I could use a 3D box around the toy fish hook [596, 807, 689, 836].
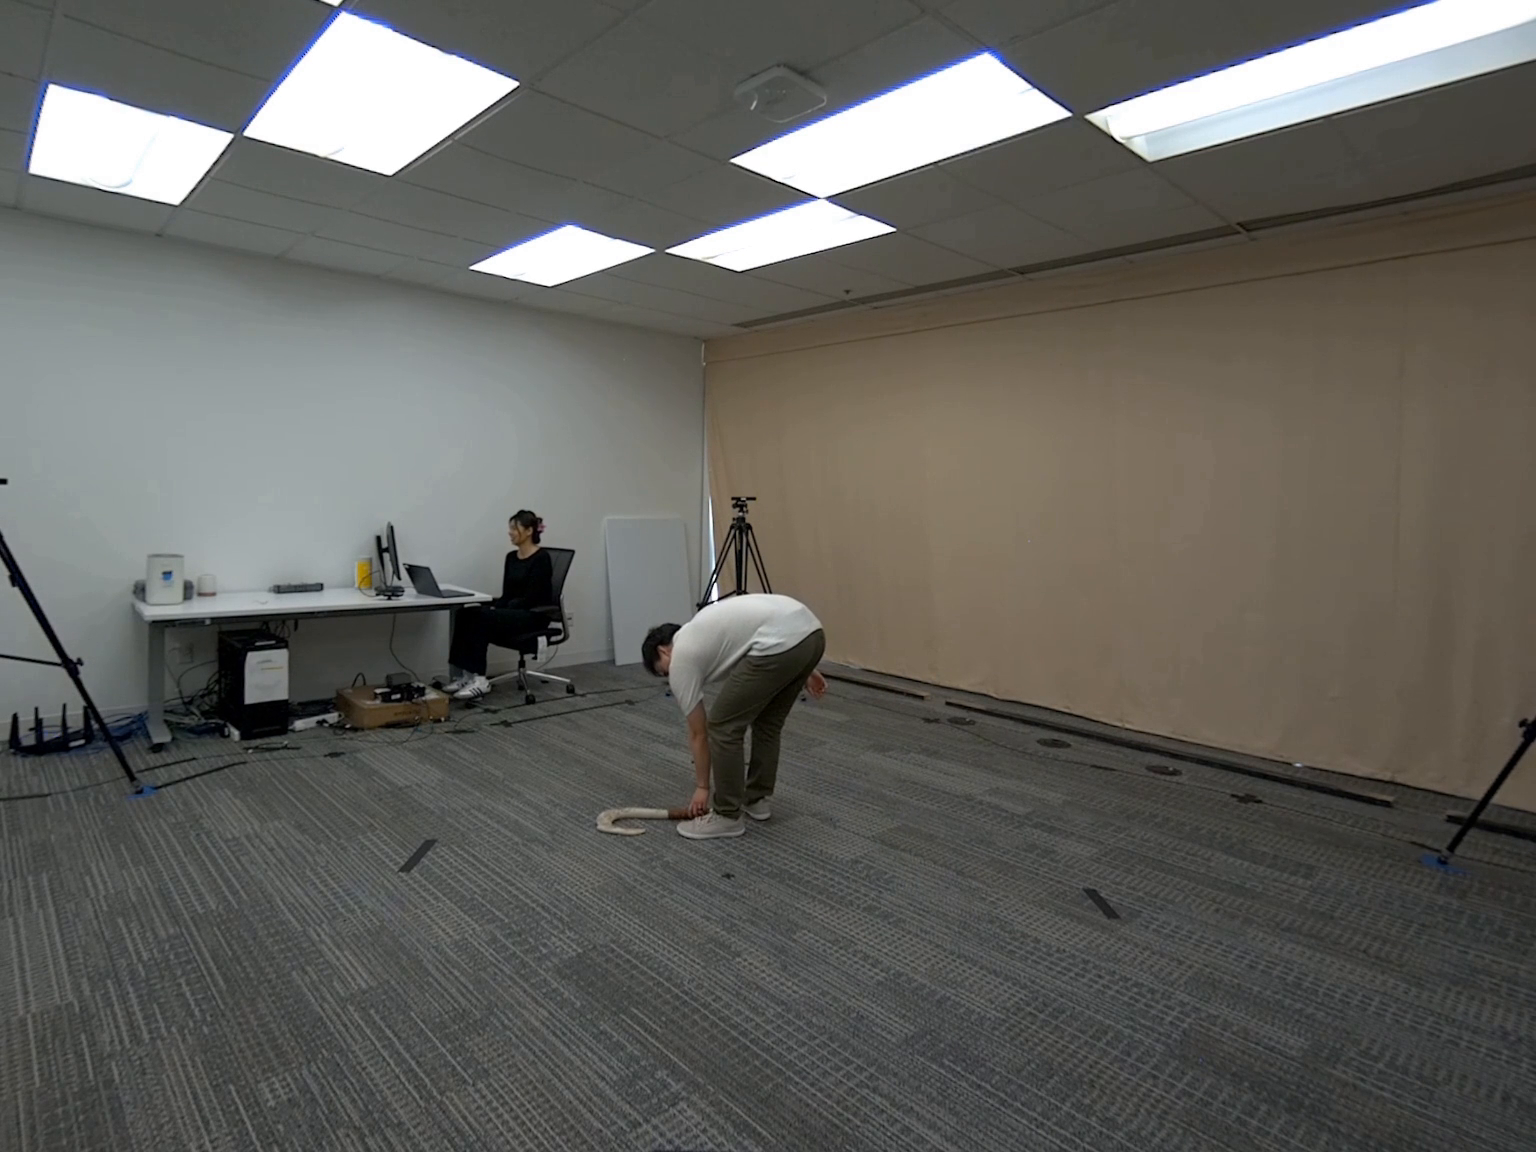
[{"bbox_3d":[-0.479,1.036,3.581,0.502,0.048,0.228,-1,13,-12],"label":"toy fish hook"}]
